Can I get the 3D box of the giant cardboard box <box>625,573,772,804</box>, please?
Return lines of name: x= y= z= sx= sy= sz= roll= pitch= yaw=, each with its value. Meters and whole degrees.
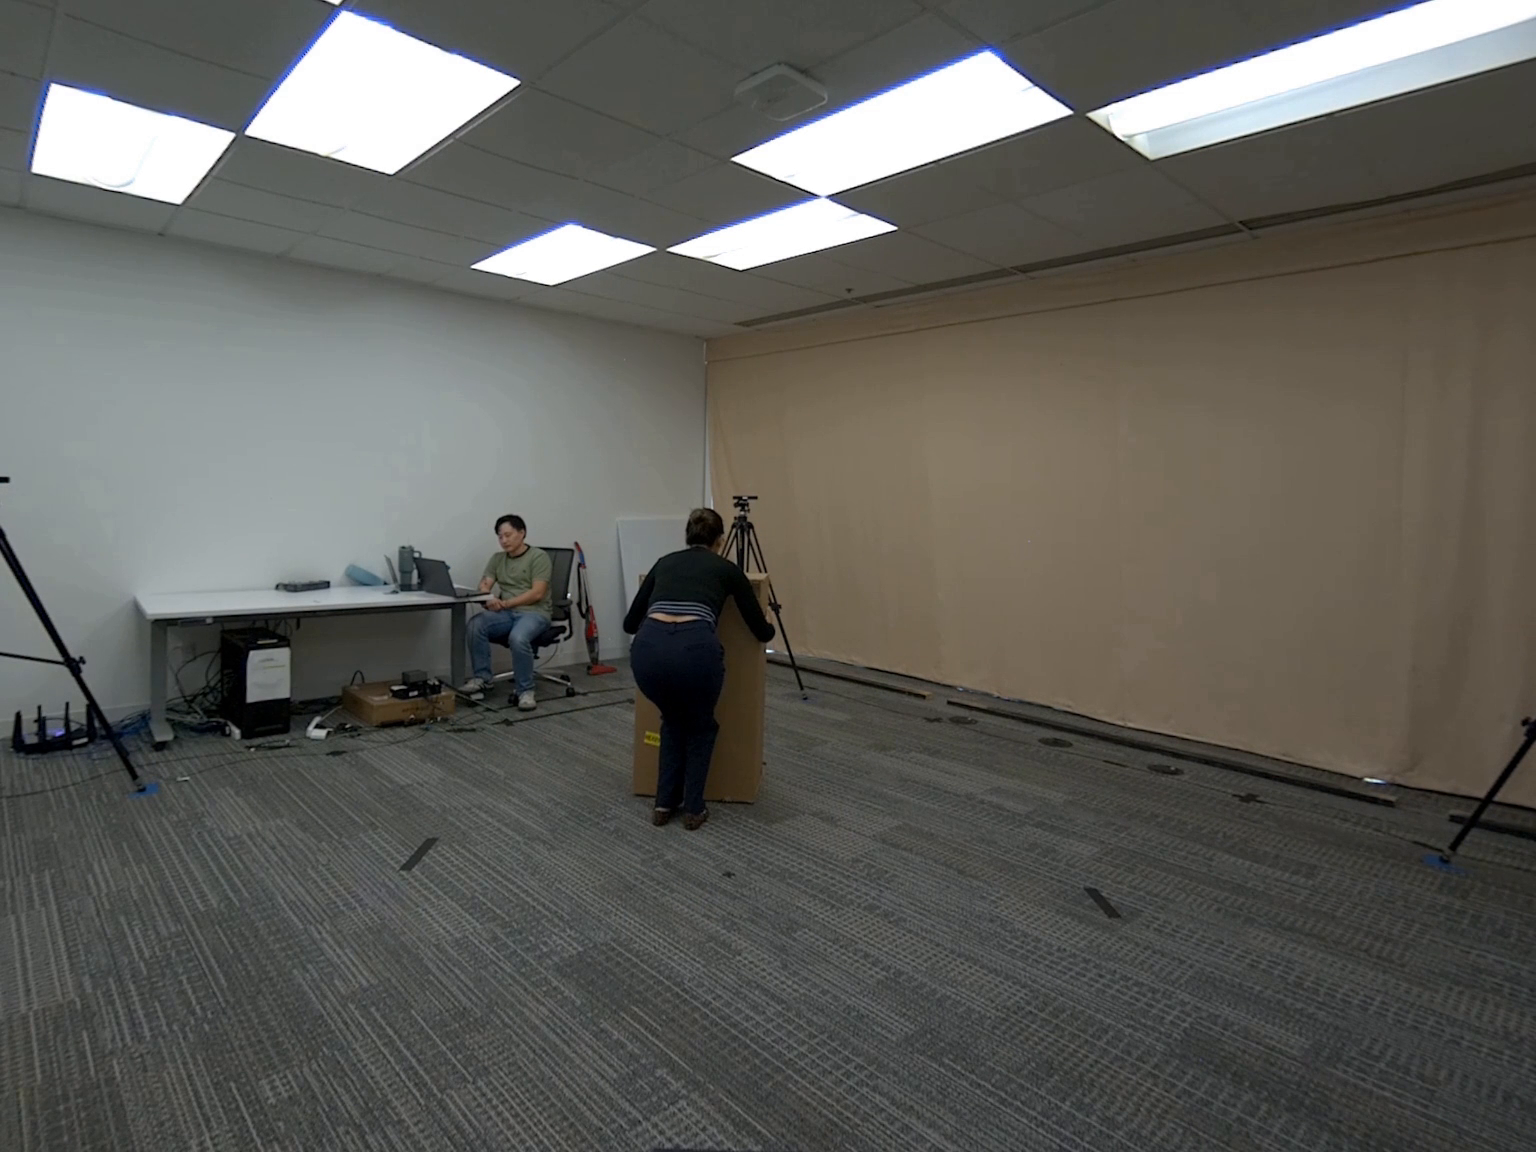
giant cardboard box: x=-0.319 y=0.504 z=4.064 sx=0.580 sy=1.024 sz=0.425 roll=2 pitch=2 yaw=5
